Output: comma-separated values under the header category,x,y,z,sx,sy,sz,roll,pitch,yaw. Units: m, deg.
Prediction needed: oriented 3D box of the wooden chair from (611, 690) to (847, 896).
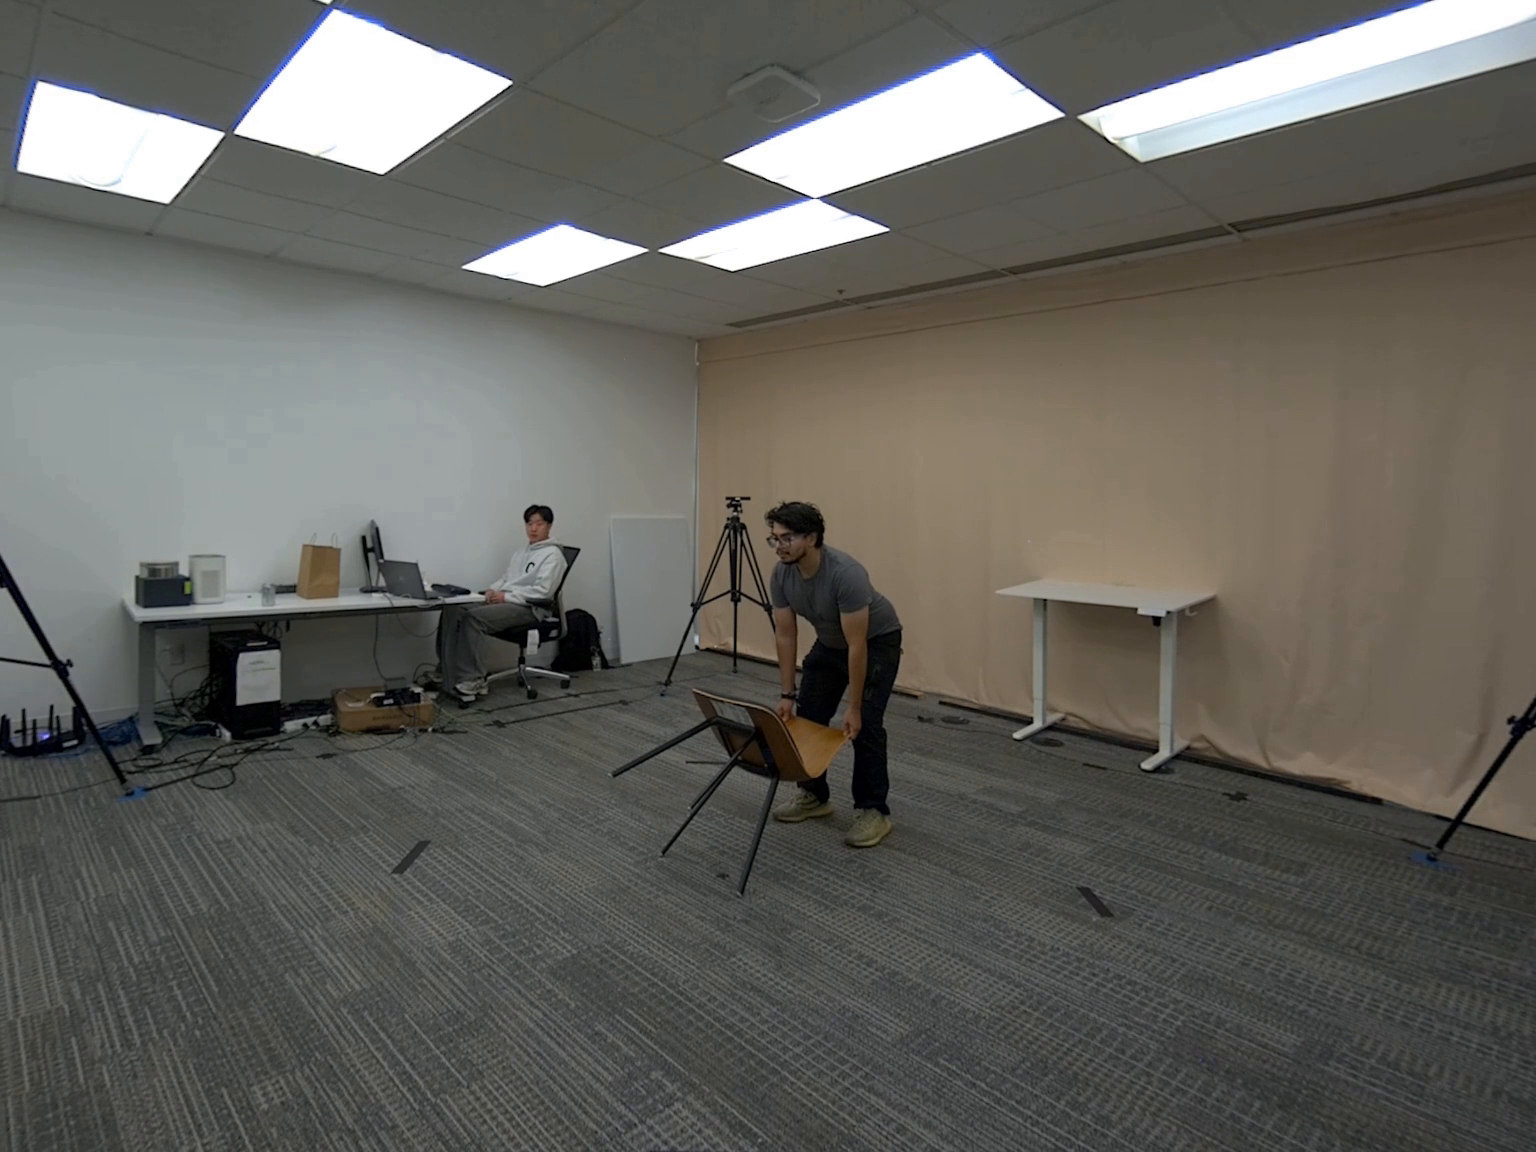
category,x,y,z,sx,sy,sz,roll,pitch,yaw
wooden chair,-0.098,0.664,3.233,0.490,0.512,0.874,4,35,44
